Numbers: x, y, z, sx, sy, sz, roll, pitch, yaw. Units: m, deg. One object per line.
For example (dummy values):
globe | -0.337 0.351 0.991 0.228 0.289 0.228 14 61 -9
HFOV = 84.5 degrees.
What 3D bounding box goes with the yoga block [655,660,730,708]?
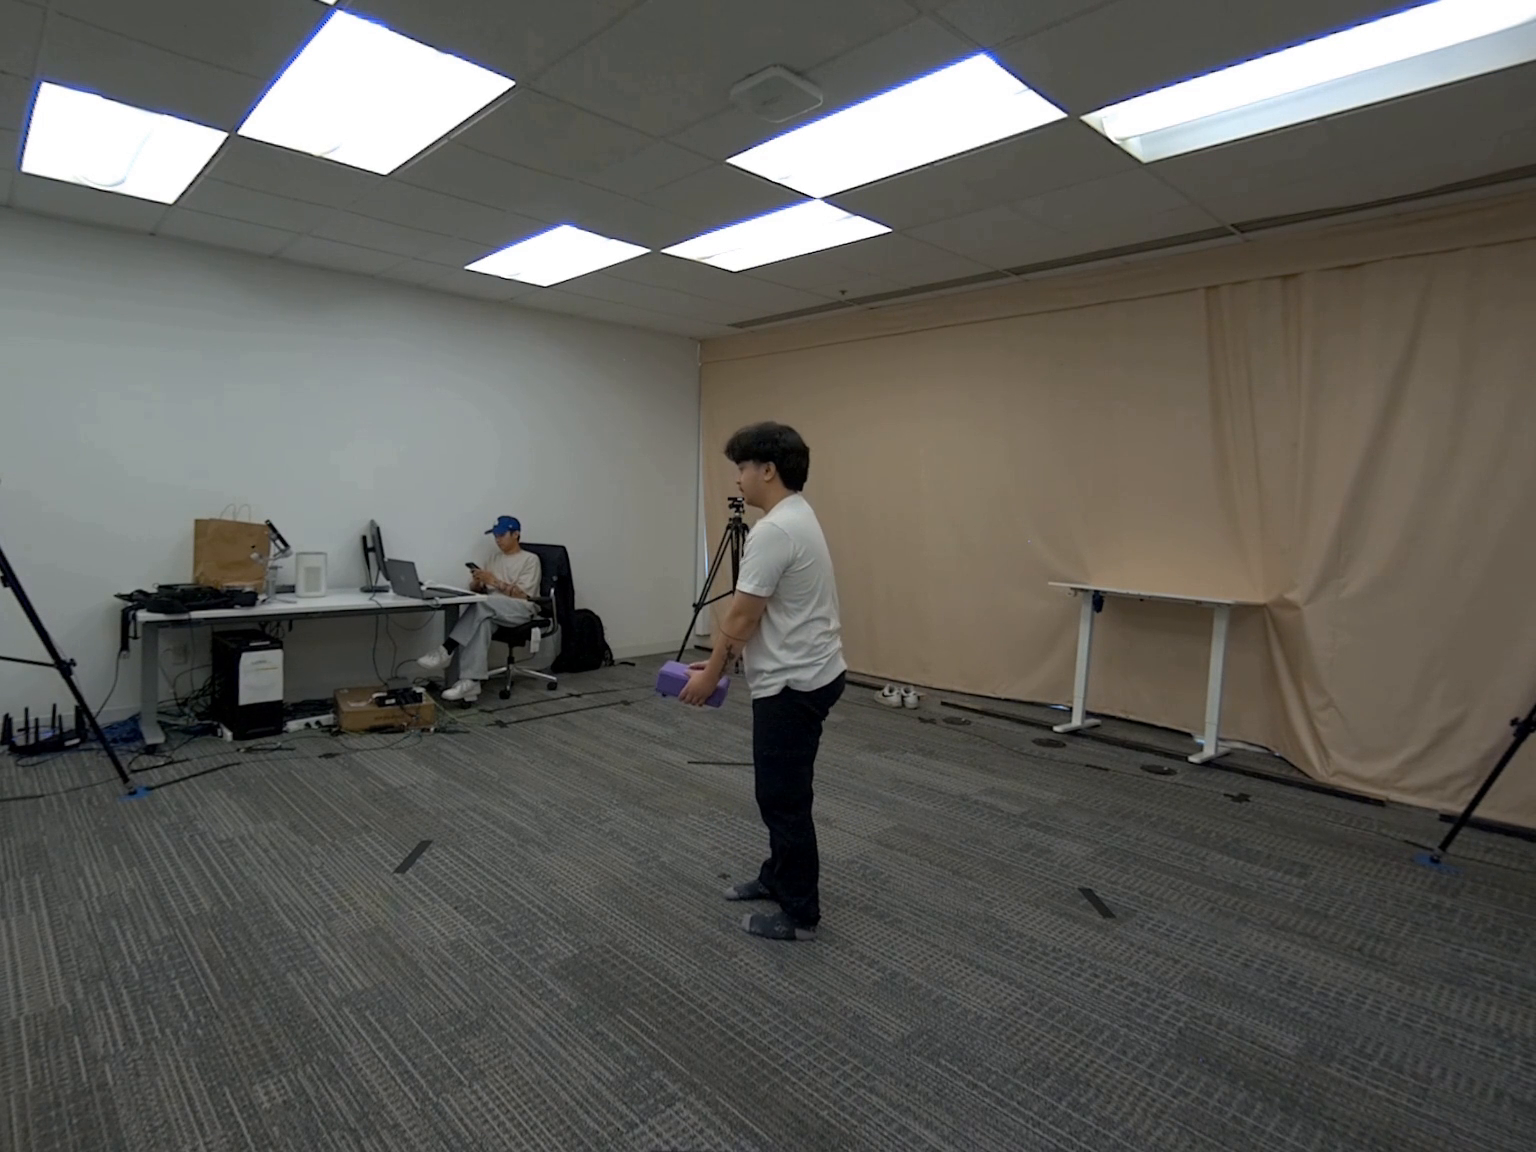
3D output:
yoga block | -0.241 0.363 2.839 0.231 0.076 0.149 13 7 6
